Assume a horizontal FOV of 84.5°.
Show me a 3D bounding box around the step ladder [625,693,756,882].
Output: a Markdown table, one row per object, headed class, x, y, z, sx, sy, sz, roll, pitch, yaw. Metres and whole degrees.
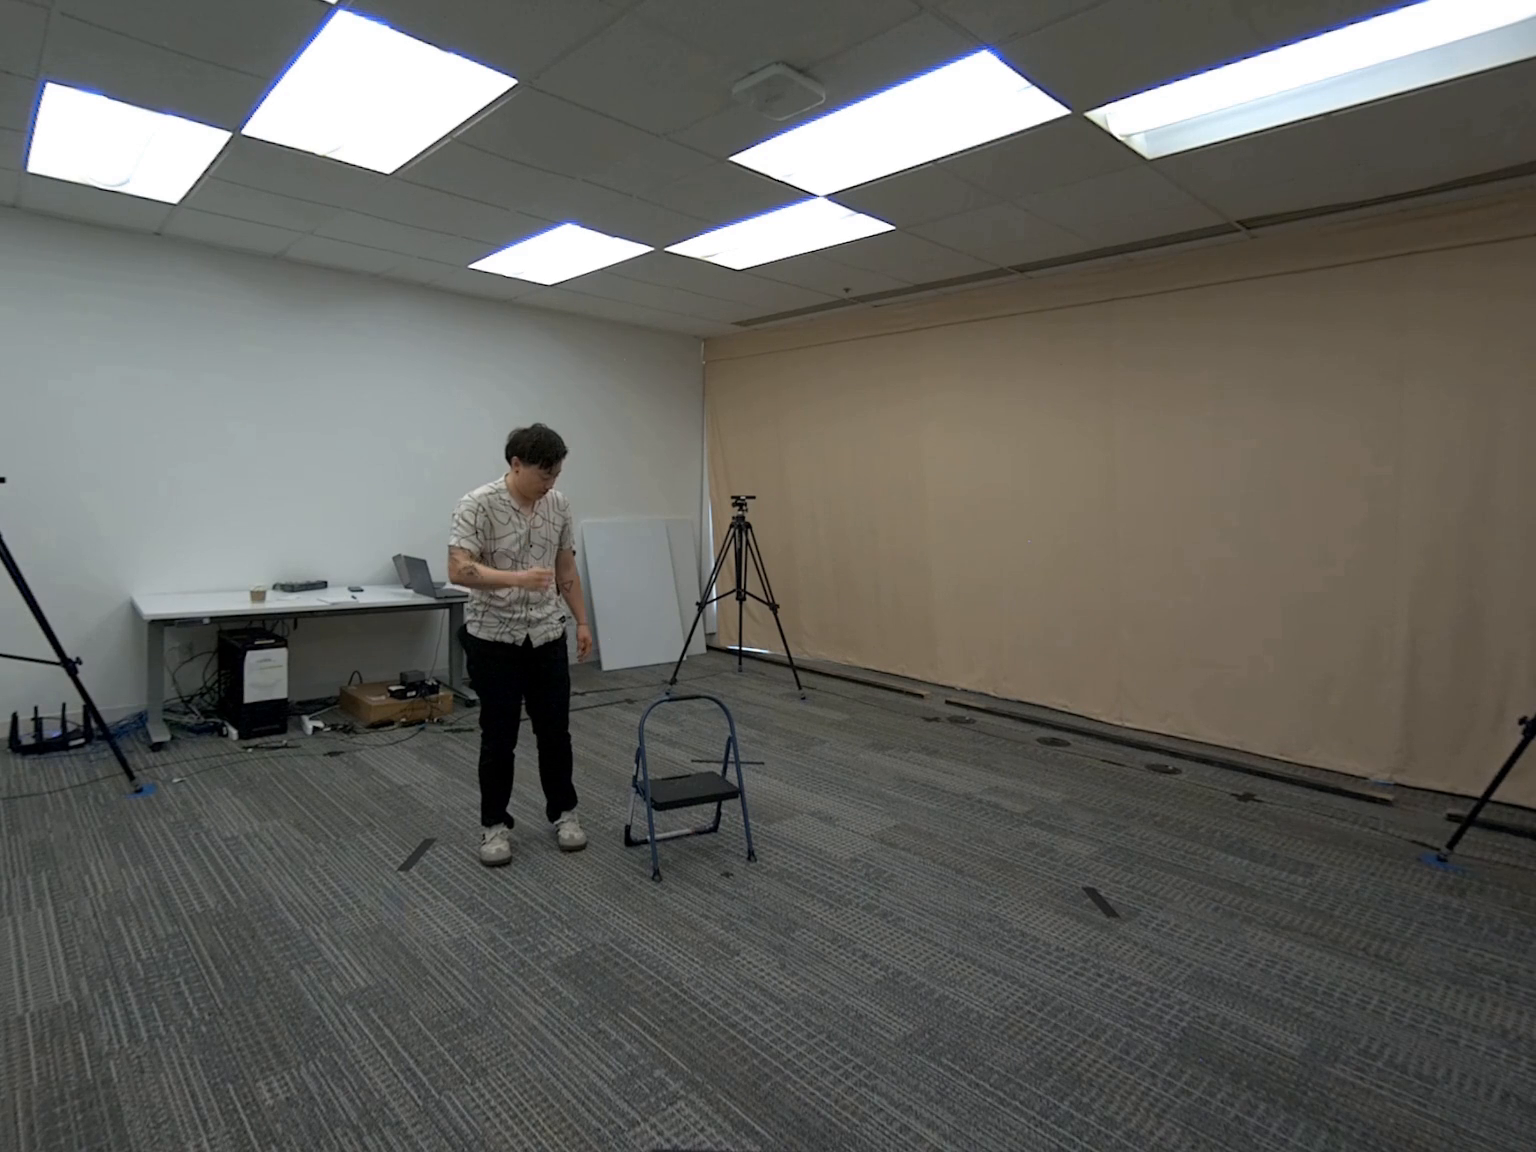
| class | x | y | z | sx | sy | sz | roll | pitch | yaw |
| --- | --- | --- | --- | --- | --- | --- | --- | --- | --- |
| step ladder | -0.309 | 0.776 | 3.271 | 0.422 | 0.605 | 0.357 | -1 | 3 | -30 |
